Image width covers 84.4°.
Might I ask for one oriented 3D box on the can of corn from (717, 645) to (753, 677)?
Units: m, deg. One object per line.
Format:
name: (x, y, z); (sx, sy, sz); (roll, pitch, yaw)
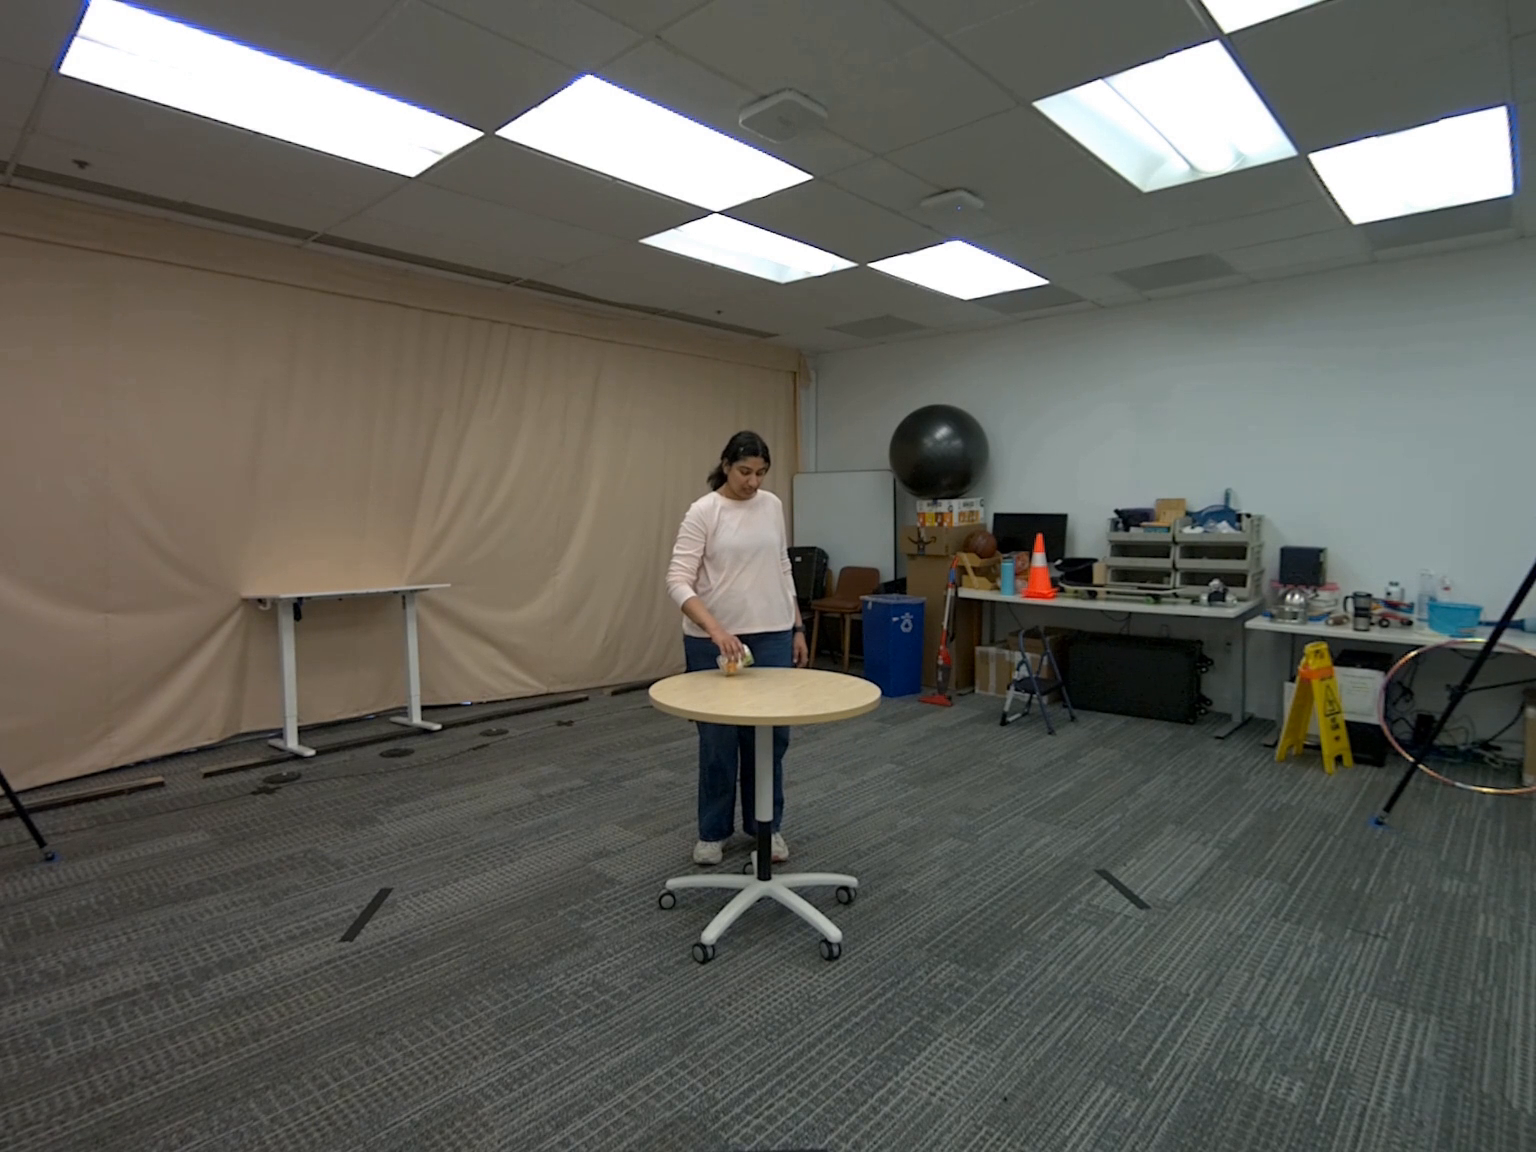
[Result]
can of corn: (-0.112, 0.300, 3.026); (0.110, 0.074, 0.075); (-23, 7, -8)
